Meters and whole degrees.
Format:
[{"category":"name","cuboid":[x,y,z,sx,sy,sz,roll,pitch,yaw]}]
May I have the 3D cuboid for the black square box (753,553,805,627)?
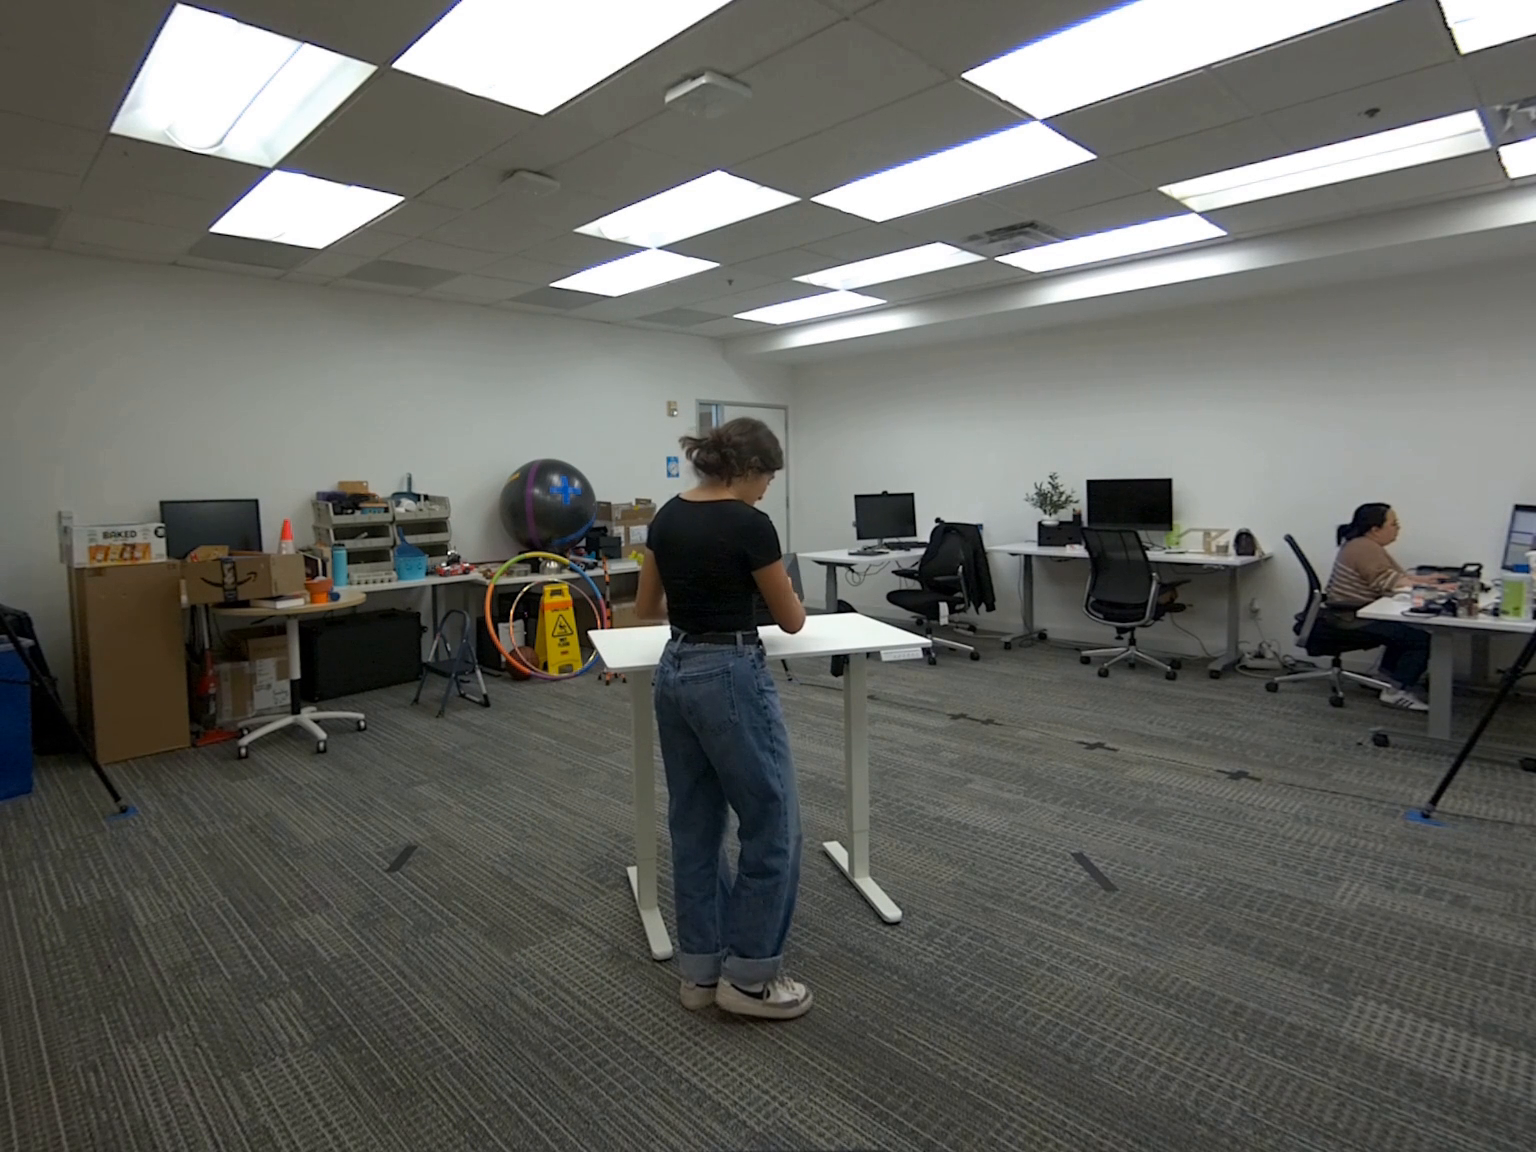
[{"category":"black square box","cuboid":[-0.010,0.042,2.659,0.220,0.153,0.228,-6,16,16]}]
